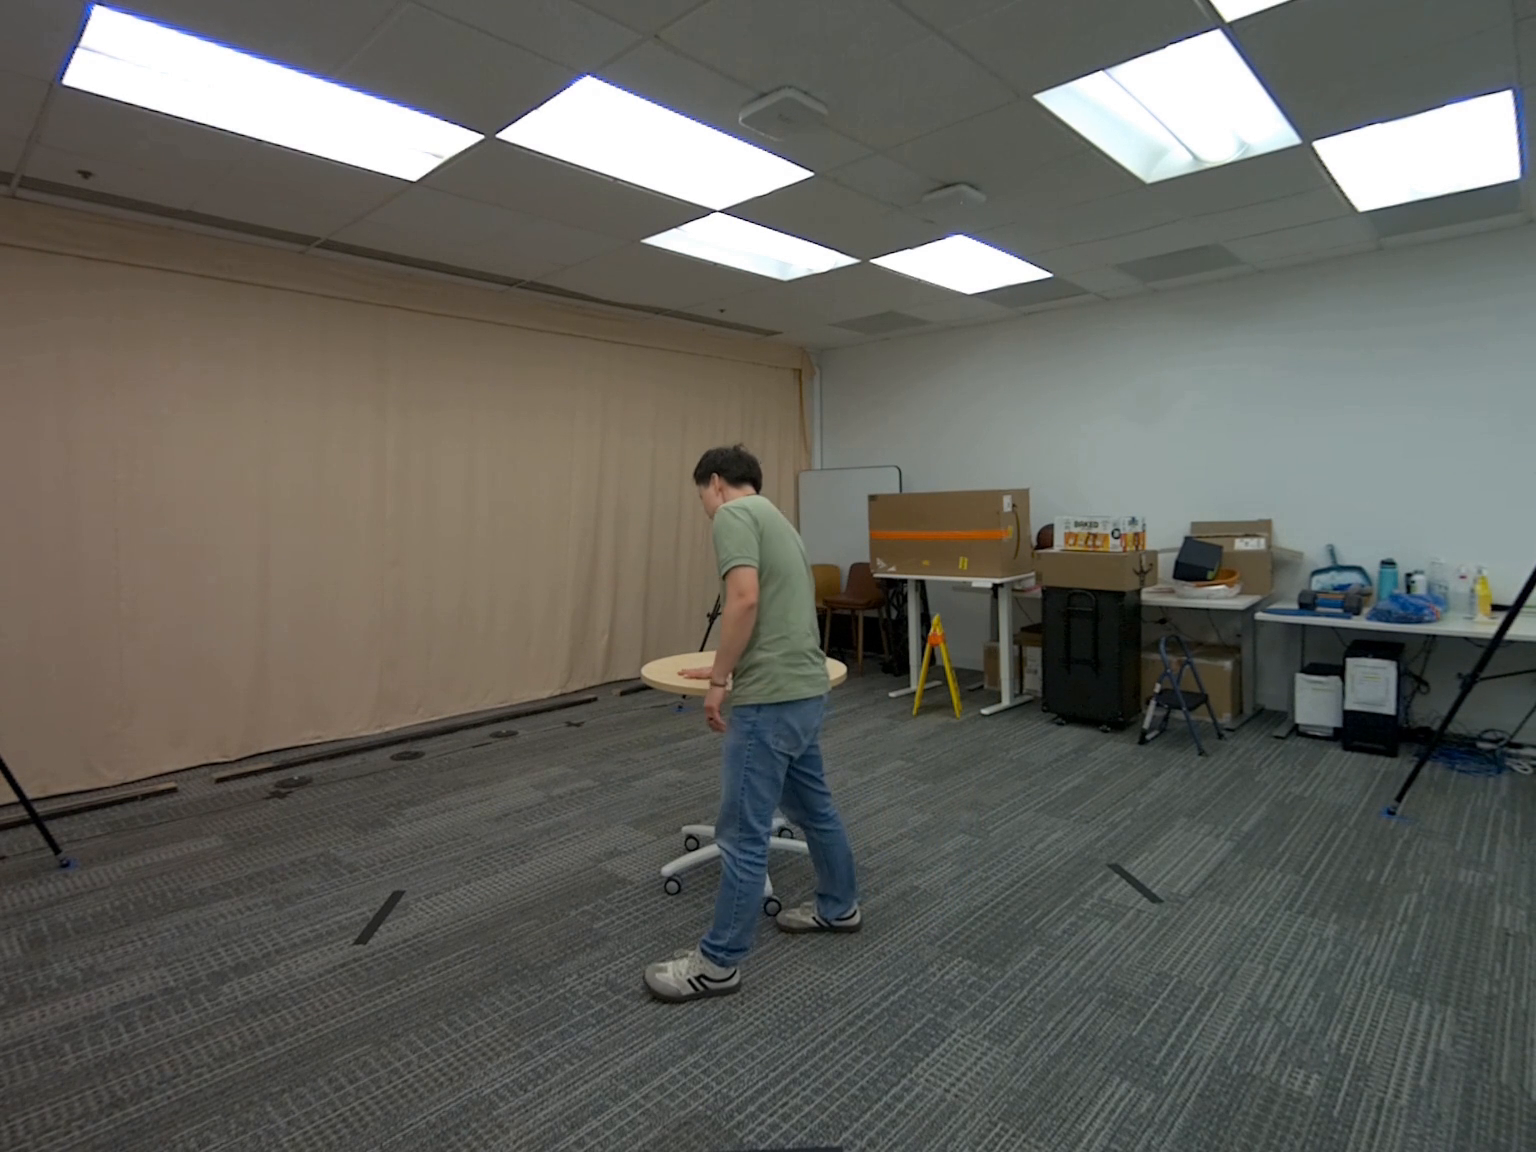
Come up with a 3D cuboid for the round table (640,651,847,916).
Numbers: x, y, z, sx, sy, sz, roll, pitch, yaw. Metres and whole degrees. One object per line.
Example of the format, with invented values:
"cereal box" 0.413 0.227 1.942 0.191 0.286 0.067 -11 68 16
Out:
"round table" -0.084 0.735 3.171 0.763 0.792 0.767 -1 4 -2
